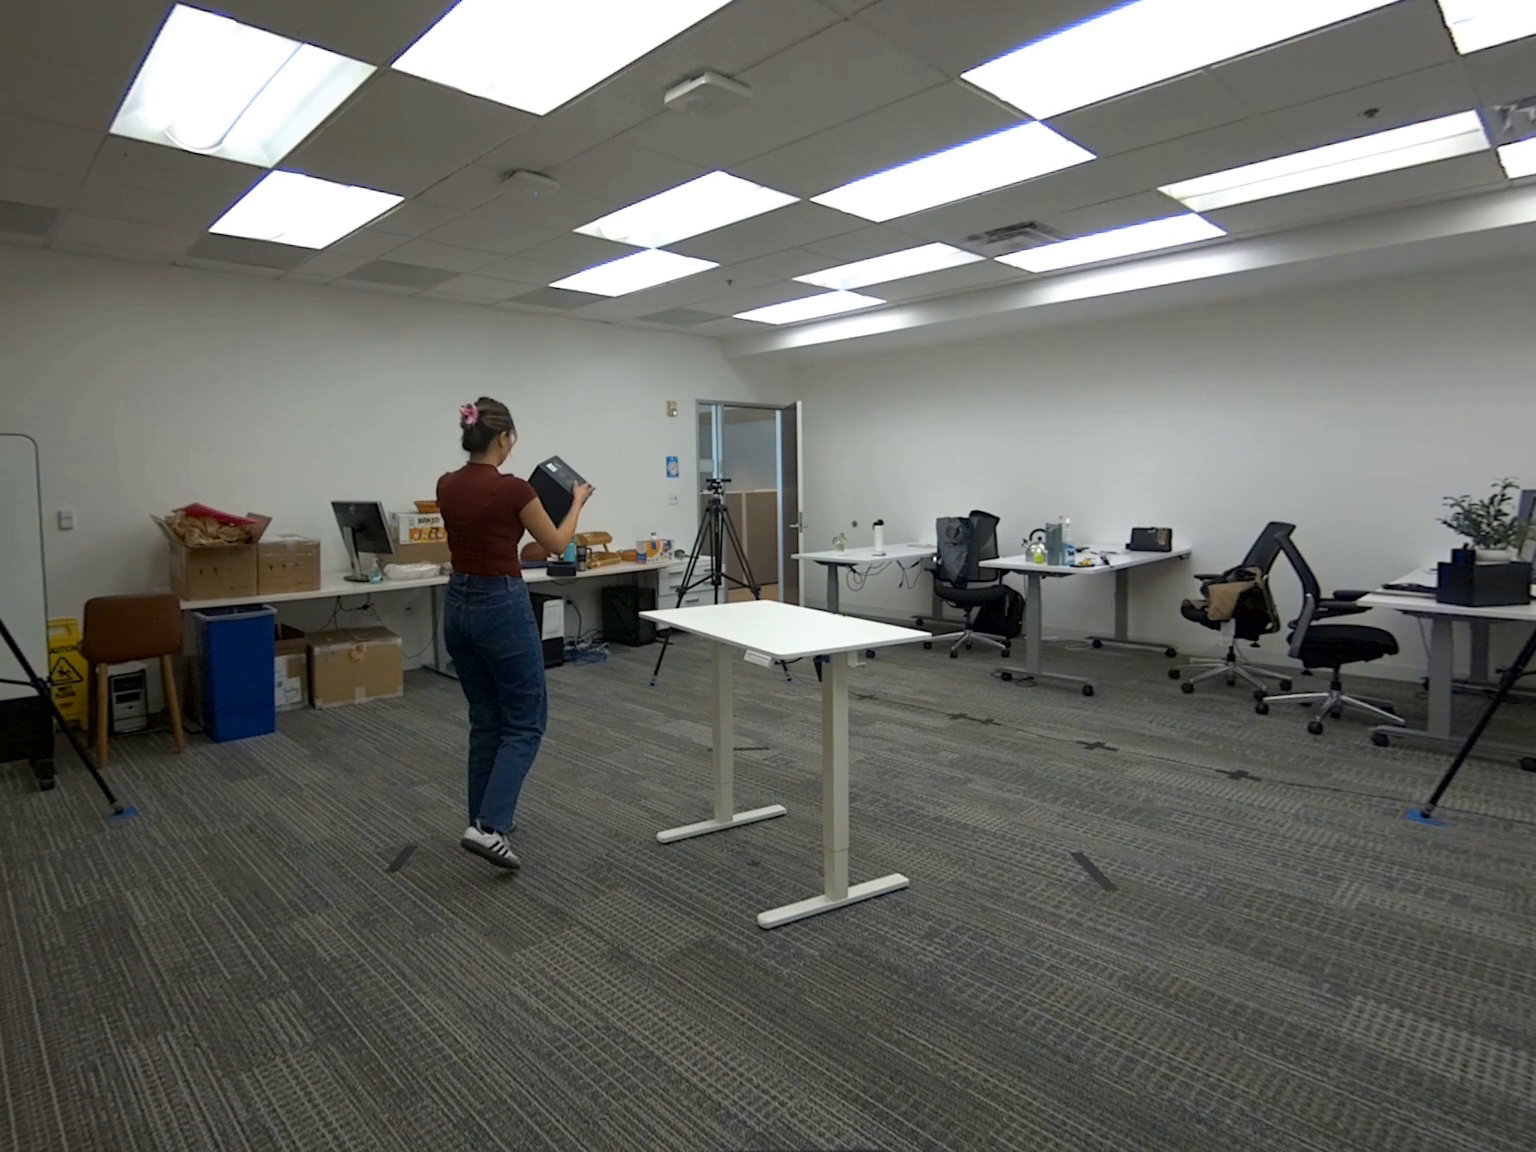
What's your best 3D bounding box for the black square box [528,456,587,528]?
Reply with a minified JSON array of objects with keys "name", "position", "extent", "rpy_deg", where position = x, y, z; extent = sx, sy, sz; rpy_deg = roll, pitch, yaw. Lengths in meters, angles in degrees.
[{"name":"black square box","position":[-0.902,-0.336,3.598],"extent":[0.218,0.227,0.155],"rpy_deg":[42,28,3]}]
